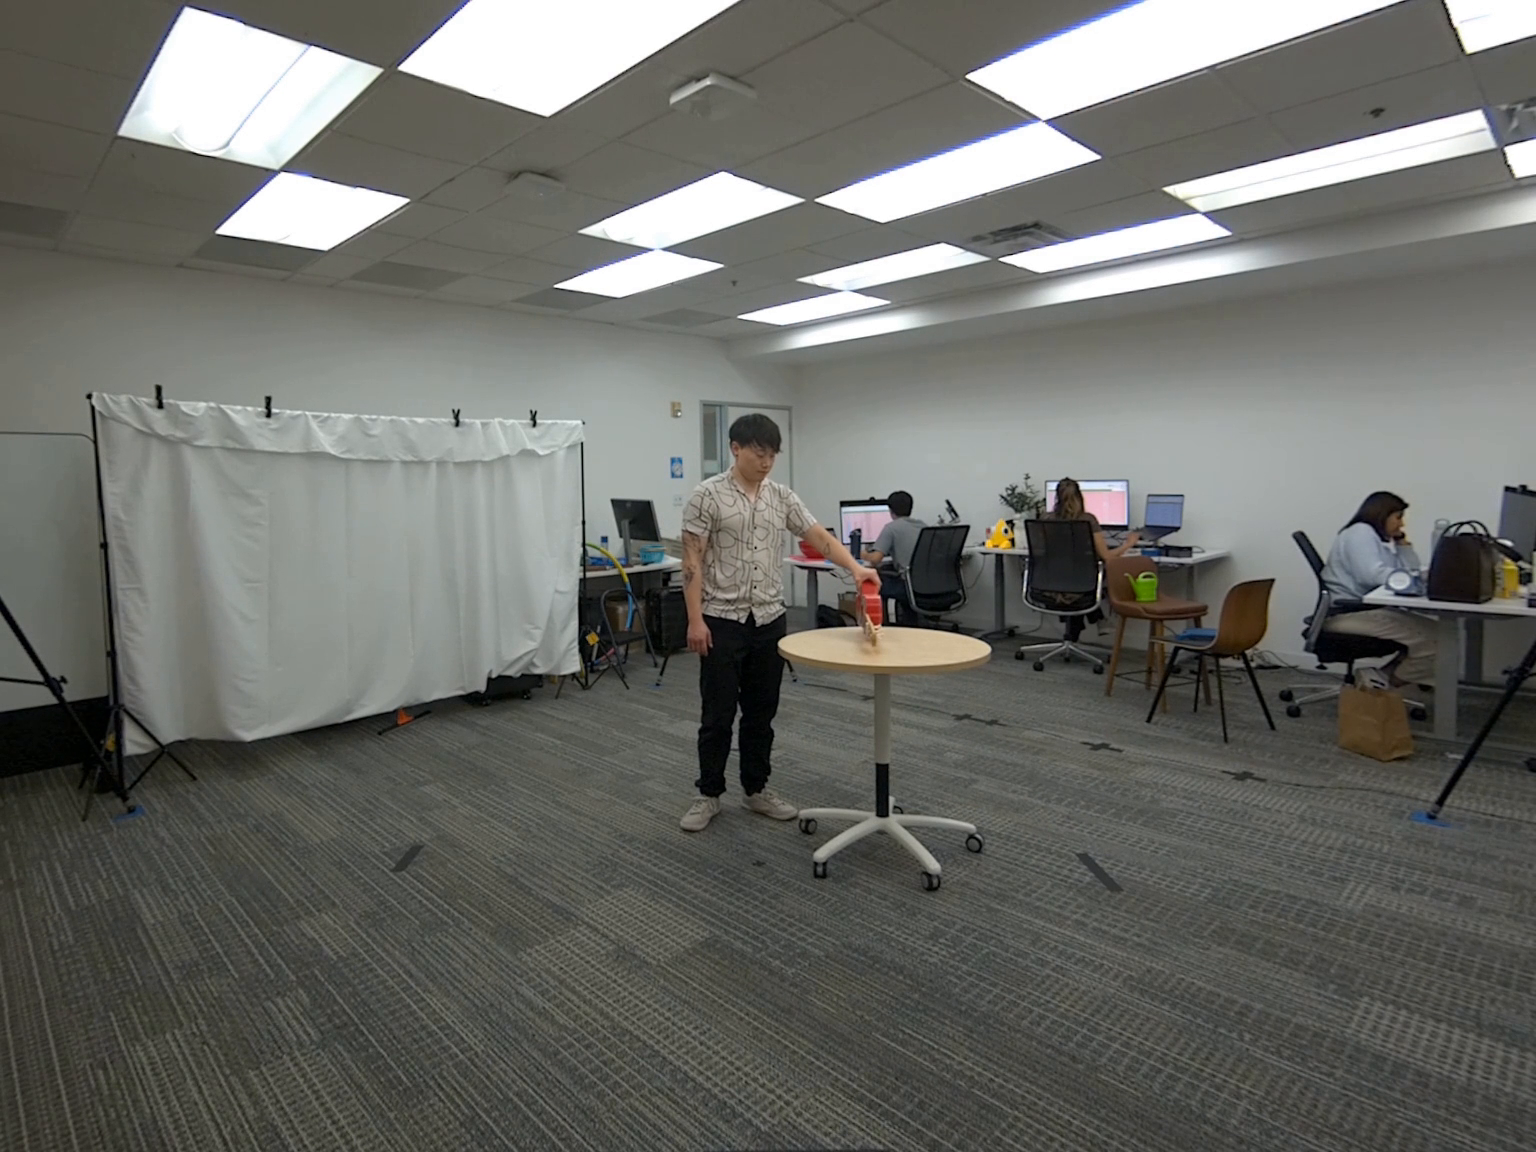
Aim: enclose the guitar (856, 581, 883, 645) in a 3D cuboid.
[{"bbox_3d":[0.380,0.182,3.197,0.070,0.189,0.508,3,25,-2],"label":"guitar"}]
